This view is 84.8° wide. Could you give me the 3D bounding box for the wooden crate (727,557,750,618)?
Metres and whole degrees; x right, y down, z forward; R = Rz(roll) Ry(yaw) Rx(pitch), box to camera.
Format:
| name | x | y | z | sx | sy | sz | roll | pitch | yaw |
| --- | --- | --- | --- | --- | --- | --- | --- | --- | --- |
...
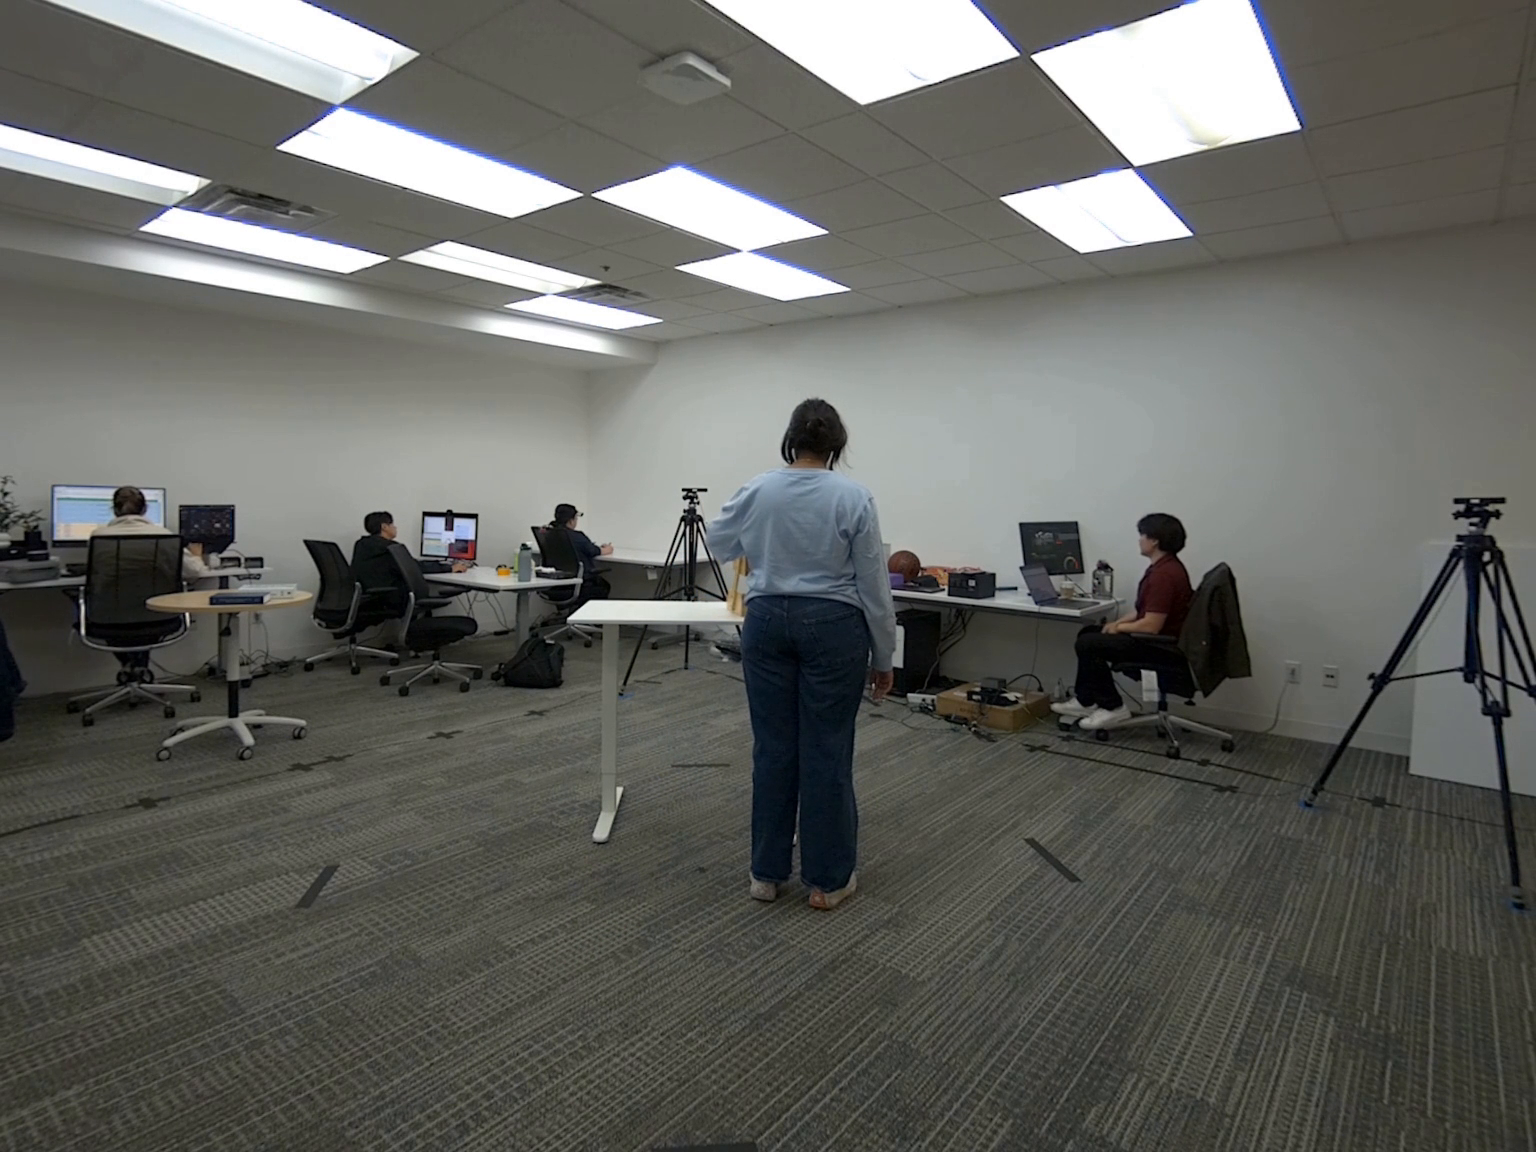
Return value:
| name | x | y | z | sx | sy | sz | roll | pitch | yaw |
| --- | --- | --- | --- | --- | --- | --- | --- | --- | --- |
| wooden crate | 0.005 | 0.017 | 3.509 | 0.320 | 0.272 | 0.308 | -1 | 5 | -15 |
